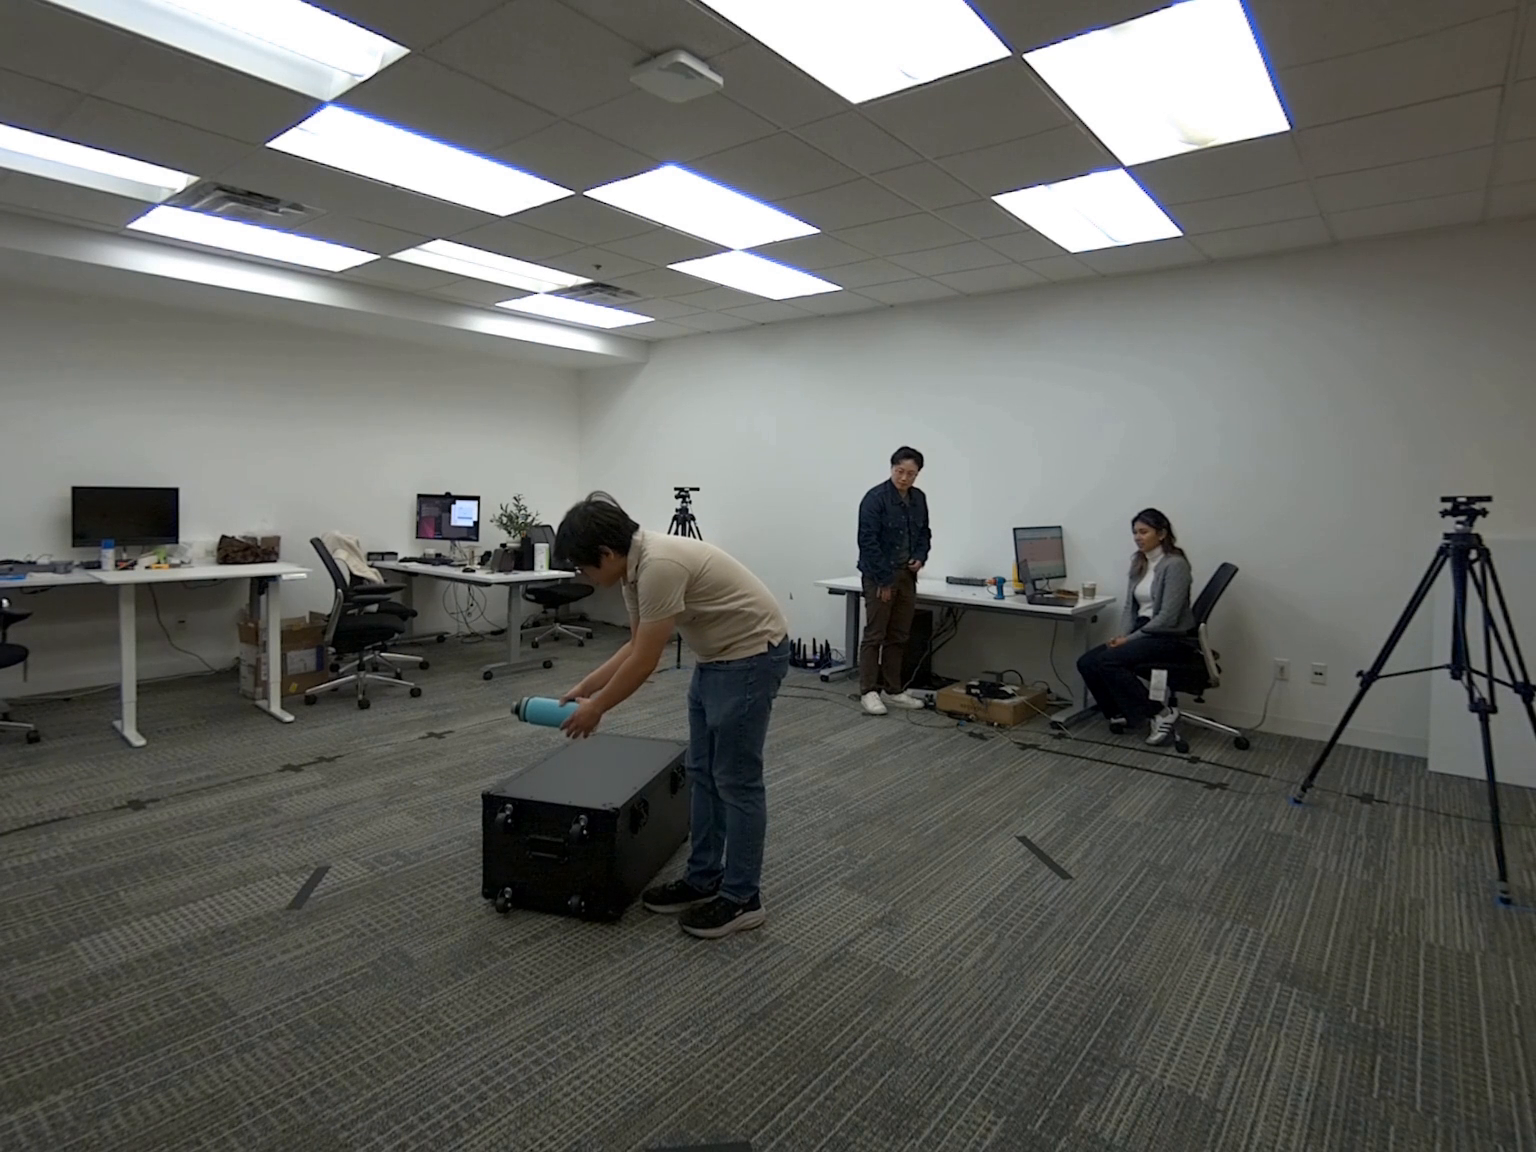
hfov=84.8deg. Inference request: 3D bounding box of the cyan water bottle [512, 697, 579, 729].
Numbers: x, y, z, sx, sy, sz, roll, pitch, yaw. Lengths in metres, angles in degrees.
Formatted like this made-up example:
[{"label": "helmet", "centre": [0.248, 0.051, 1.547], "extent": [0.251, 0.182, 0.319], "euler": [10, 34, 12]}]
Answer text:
[{"label": "cyan water bottle", "centre": [-0.711, 0.449, 2.784], "extent": [0.287, 0.092, 0.091], "euler": [5, 5, 11]}]
